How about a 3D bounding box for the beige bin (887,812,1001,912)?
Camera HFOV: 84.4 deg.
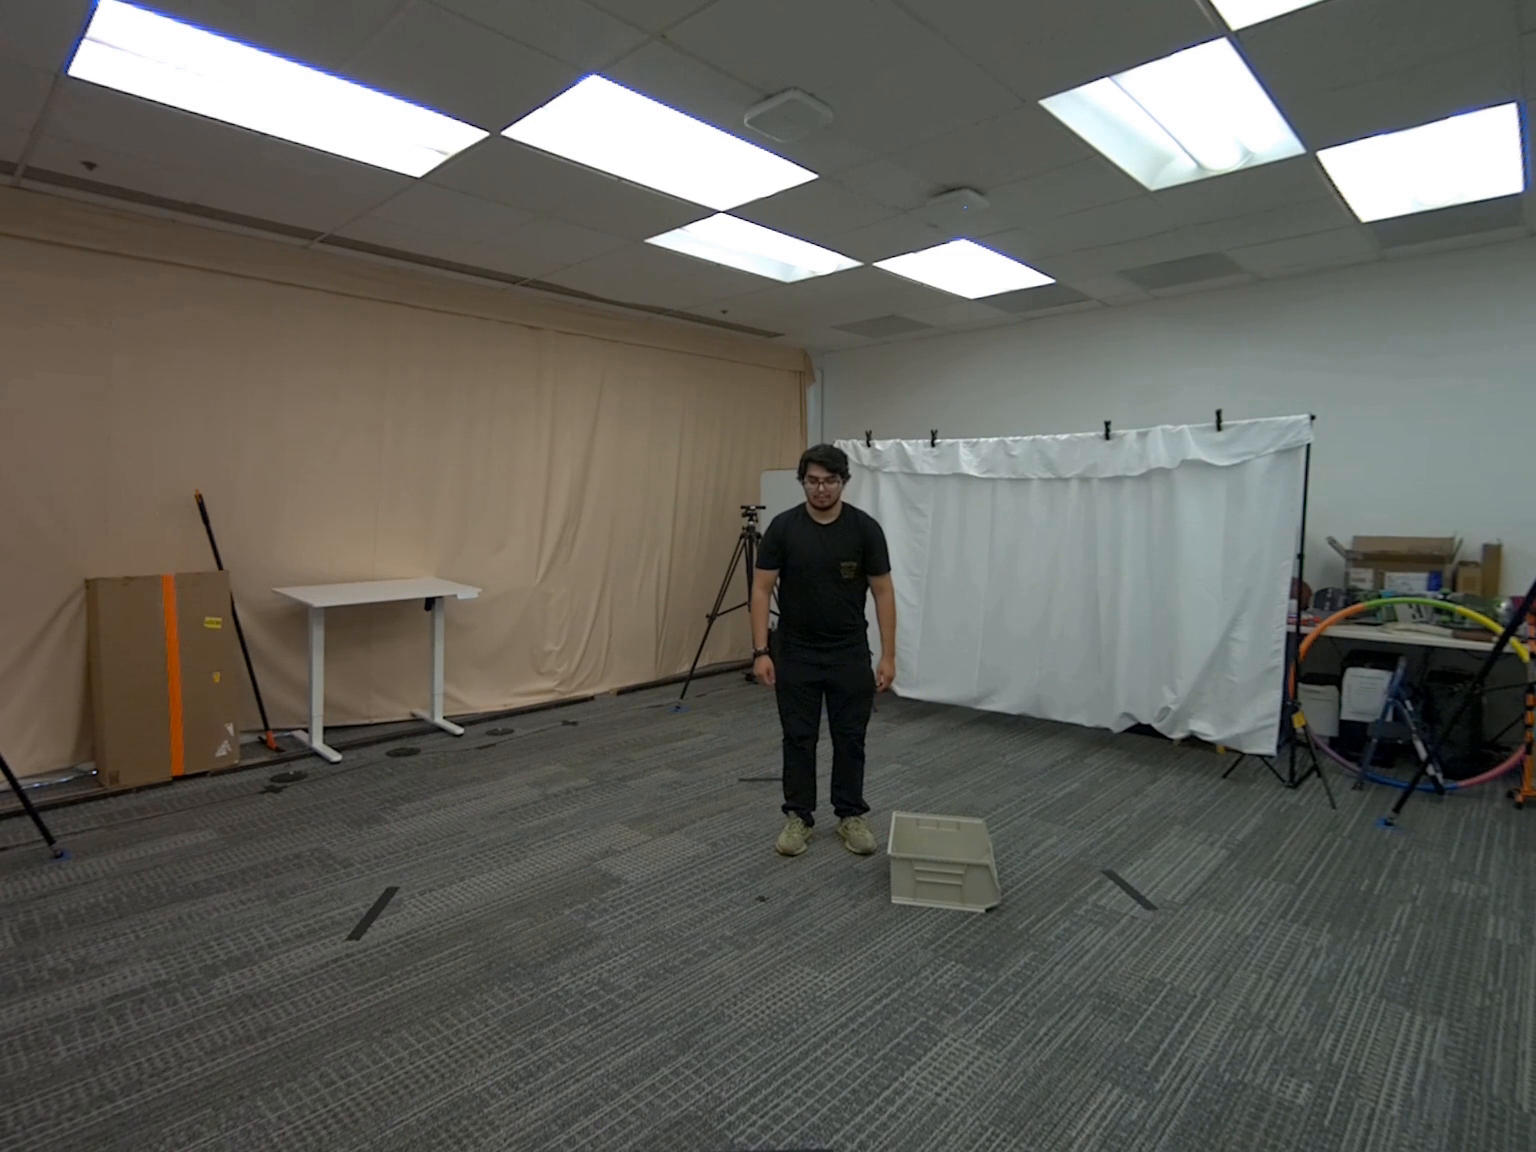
[{"bbox_3d":[0.654,1.046,3.099,0.383,0.188,0.417,0,5,12],"label":"beige bin"}]
